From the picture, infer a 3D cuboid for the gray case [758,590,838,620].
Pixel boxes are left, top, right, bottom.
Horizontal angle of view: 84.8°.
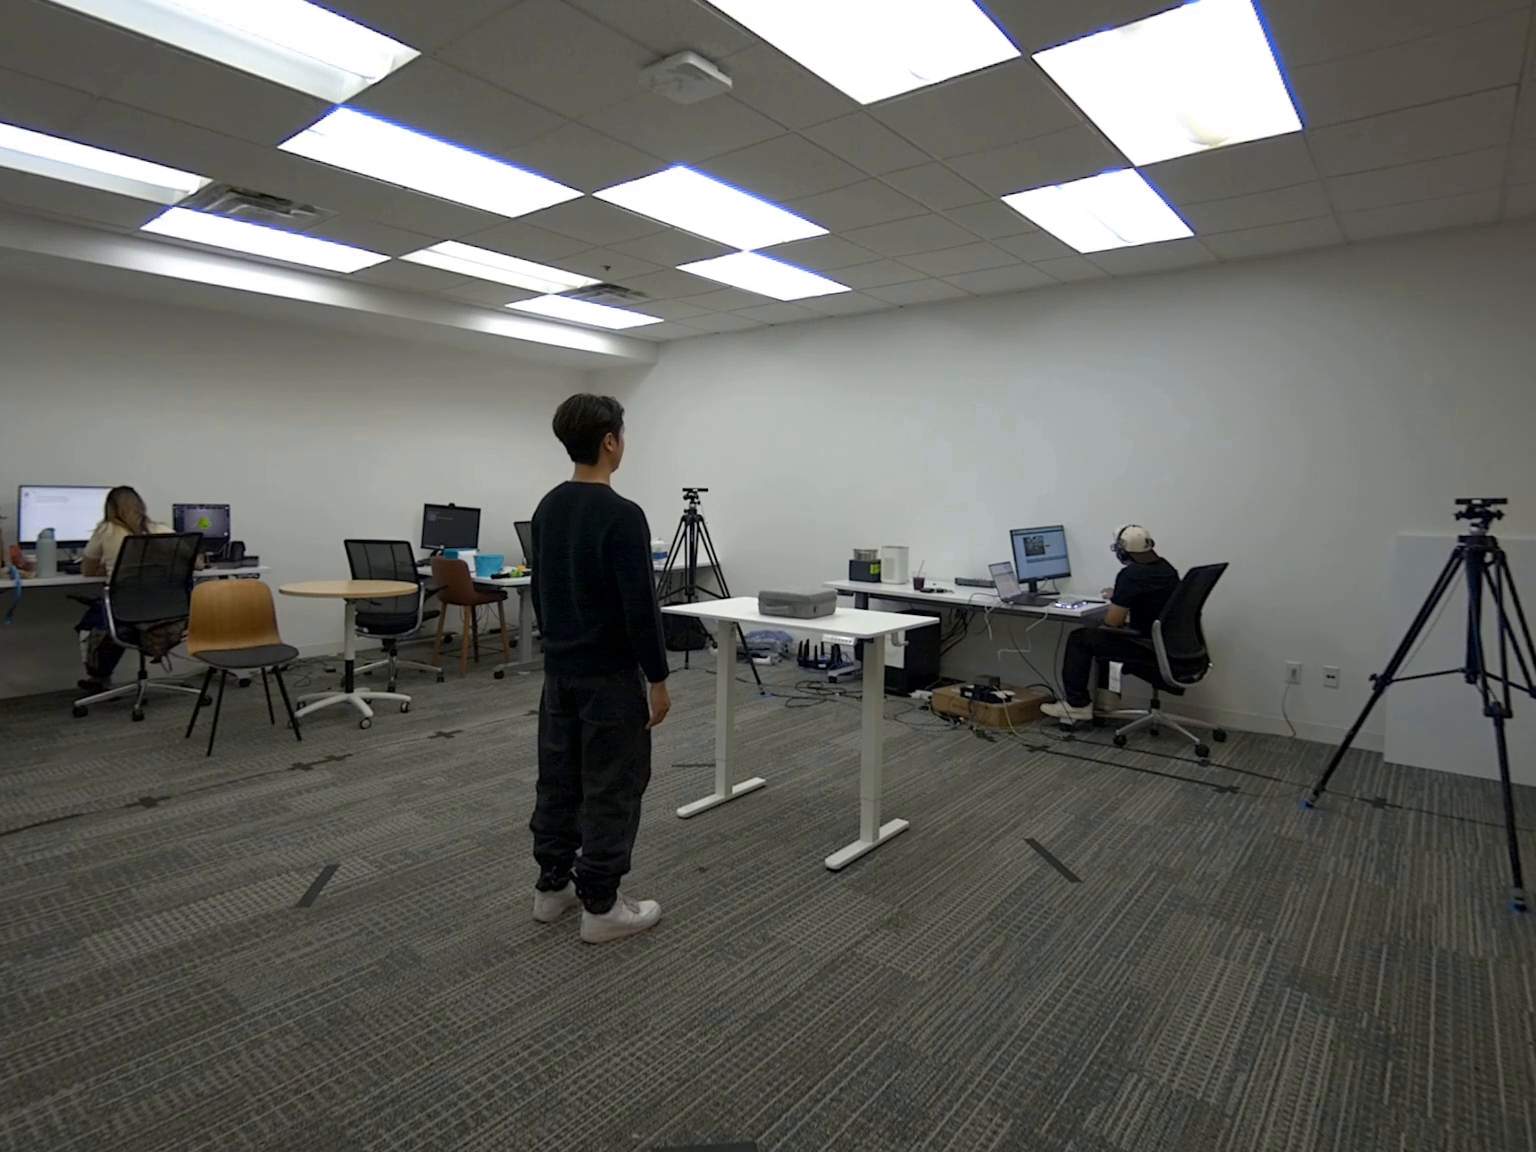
[{"bbox_3d":[0.114,0.101,3.504,0.265,0.104,0.254,5,7,33],"label":"gray case"}]
